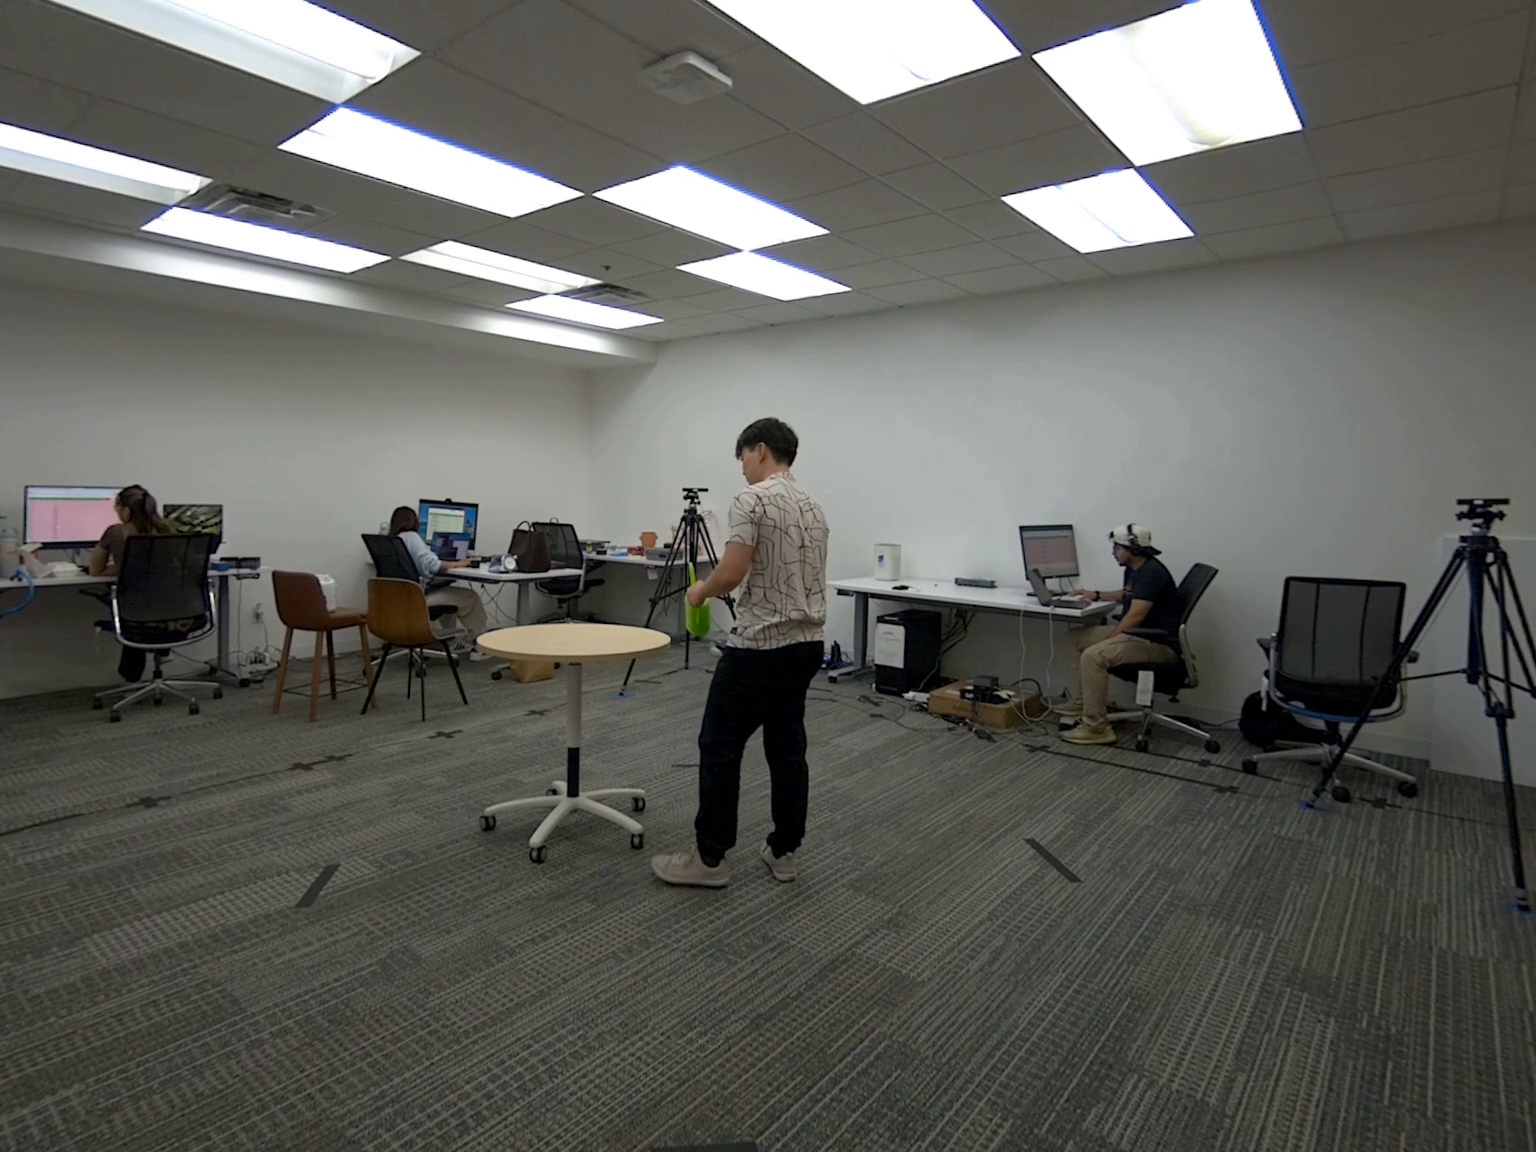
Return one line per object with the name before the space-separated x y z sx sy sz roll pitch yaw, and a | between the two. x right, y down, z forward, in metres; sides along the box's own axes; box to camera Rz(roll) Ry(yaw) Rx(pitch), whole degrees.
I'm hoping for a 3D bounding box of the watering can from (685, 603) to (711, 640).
watering can | -0.273 0.100 3.272 0.098 0.172 0.285 0 35 0
